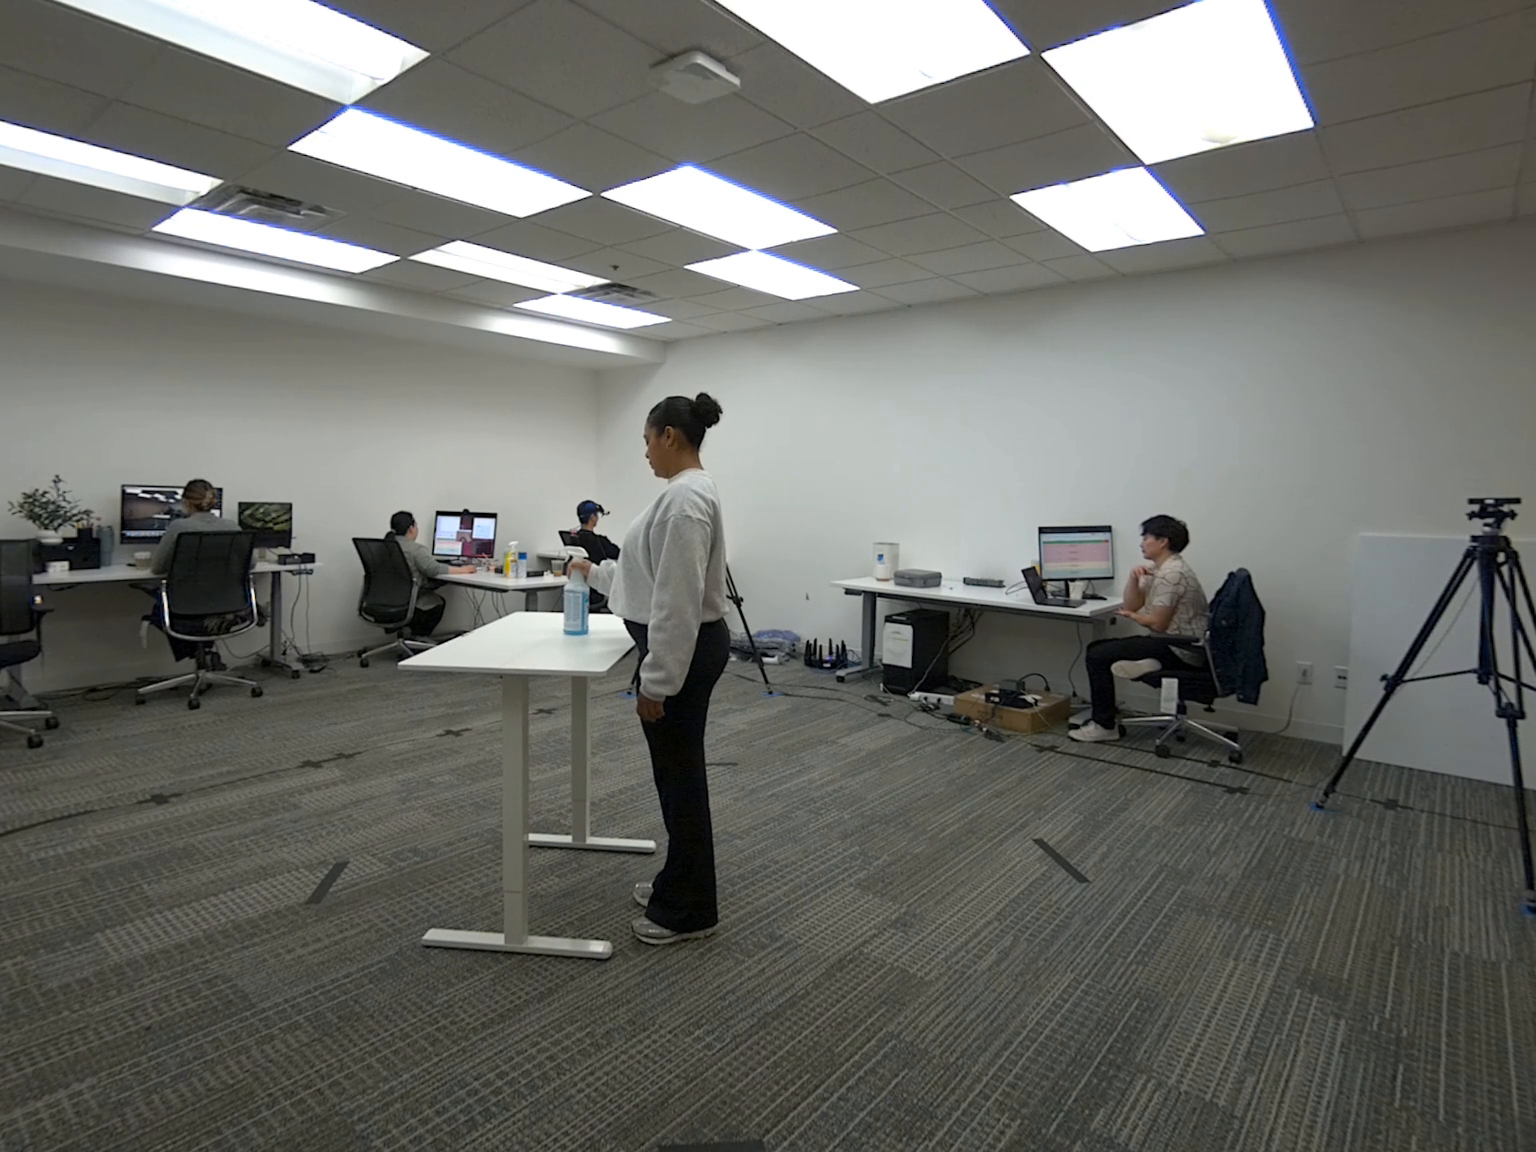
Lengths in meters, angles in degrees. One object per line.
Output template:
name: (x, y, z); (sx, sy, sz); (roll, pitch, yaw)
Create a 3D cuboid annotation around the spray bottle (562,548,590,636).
spray bottle: (-0.667, 0.047, 2.918); (0.084, 0.296, 0.093); (-1, 4, -44)
